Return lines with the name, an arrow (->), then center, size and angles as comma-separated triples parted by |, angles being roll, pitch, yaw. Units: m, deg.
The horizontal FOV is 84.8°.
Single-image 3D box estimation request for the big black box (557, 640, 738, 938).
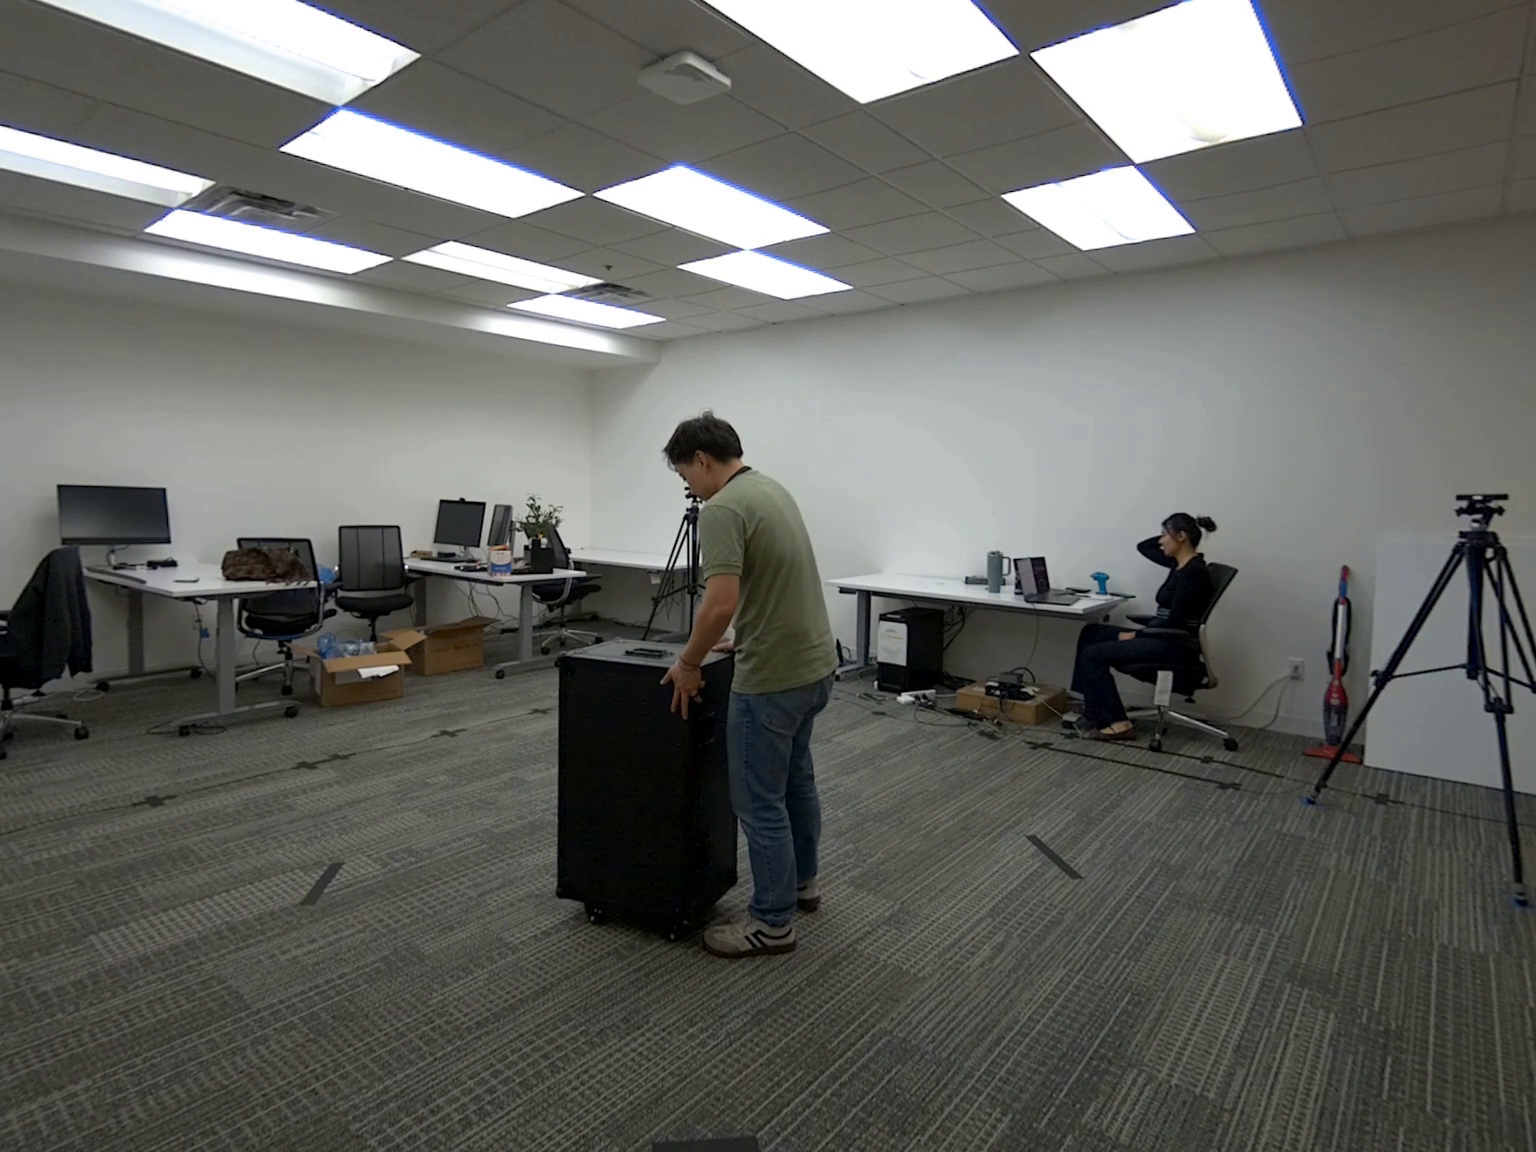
big black box -> -0.401, 0.672, 2.780 | 0.534, 0.860, 0.387 | 2, 2, 24
